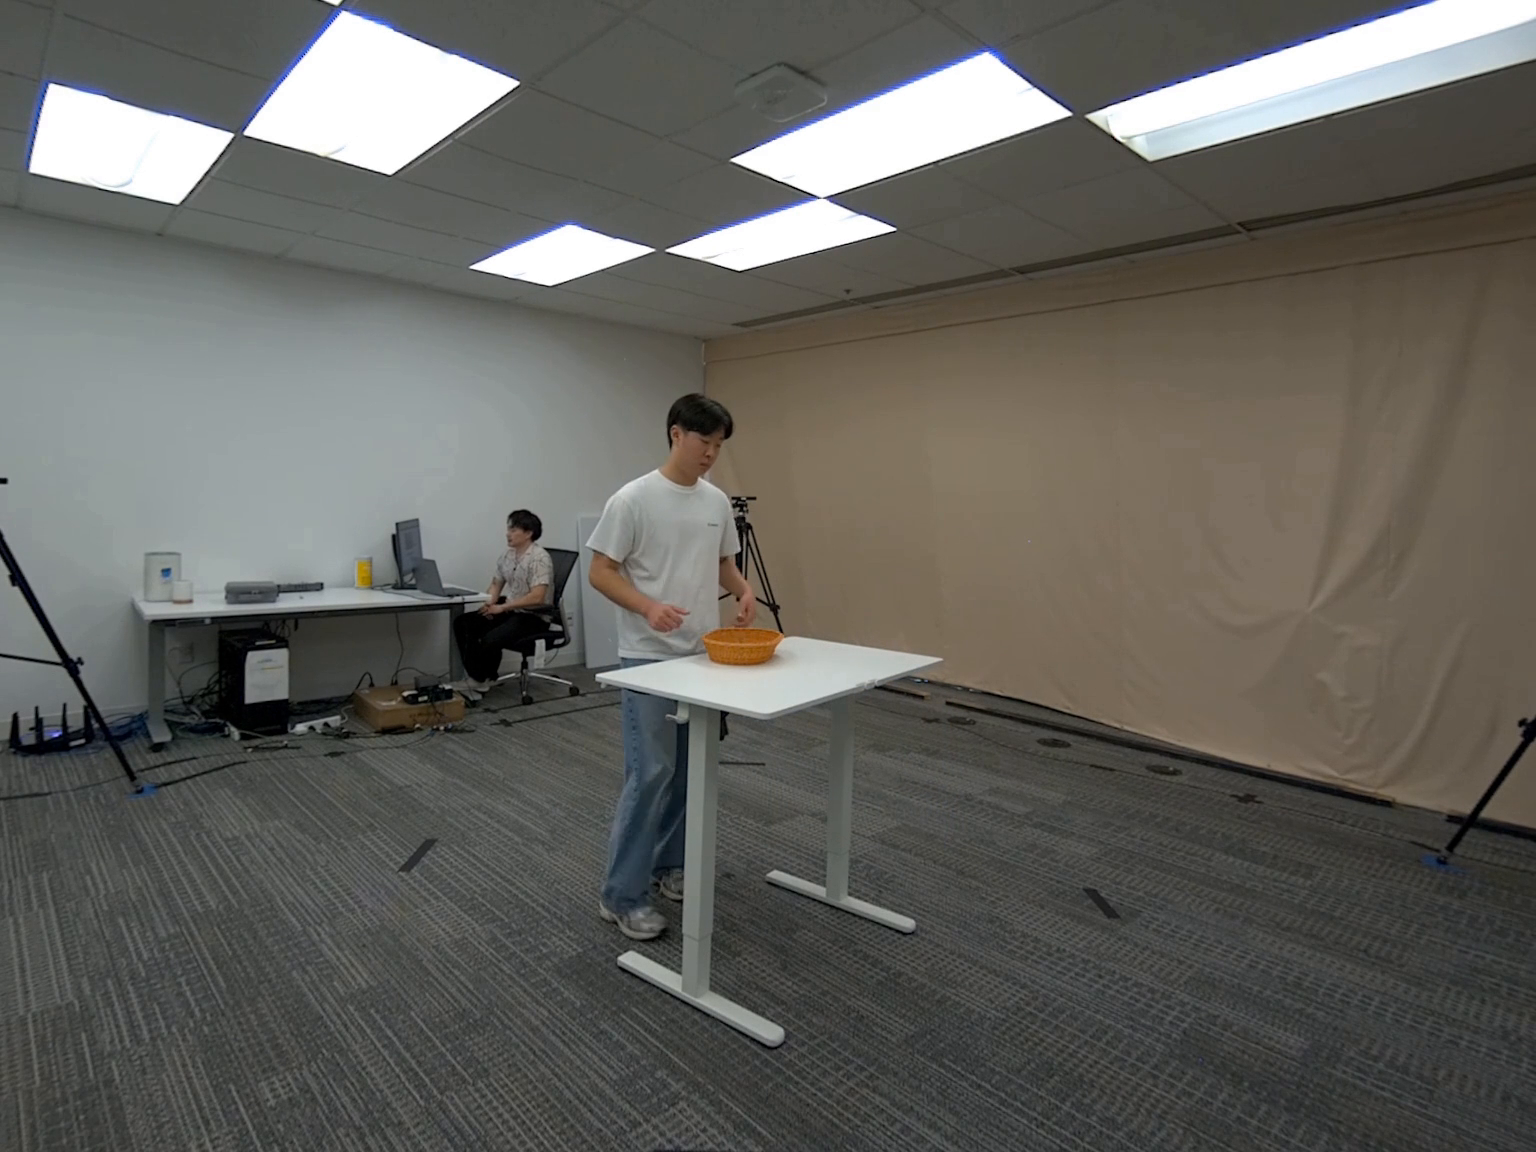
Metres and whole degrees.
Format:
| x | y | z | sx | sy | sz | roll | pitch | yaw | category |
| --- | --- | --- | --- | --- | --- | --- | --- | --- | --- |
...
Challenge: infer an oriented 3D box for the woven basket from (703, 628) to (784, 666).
| x | y | z | sx | sy | sz | roll | pitch | yaw | category |
| --- | --- | --- | --- | --- | --- | --- | --- | --- | --- |
| -0.093 | 0.233 | 2.687 | 0.256 | 0.073 | 0.346 | 3 | 5 | 16 | woven basket |
